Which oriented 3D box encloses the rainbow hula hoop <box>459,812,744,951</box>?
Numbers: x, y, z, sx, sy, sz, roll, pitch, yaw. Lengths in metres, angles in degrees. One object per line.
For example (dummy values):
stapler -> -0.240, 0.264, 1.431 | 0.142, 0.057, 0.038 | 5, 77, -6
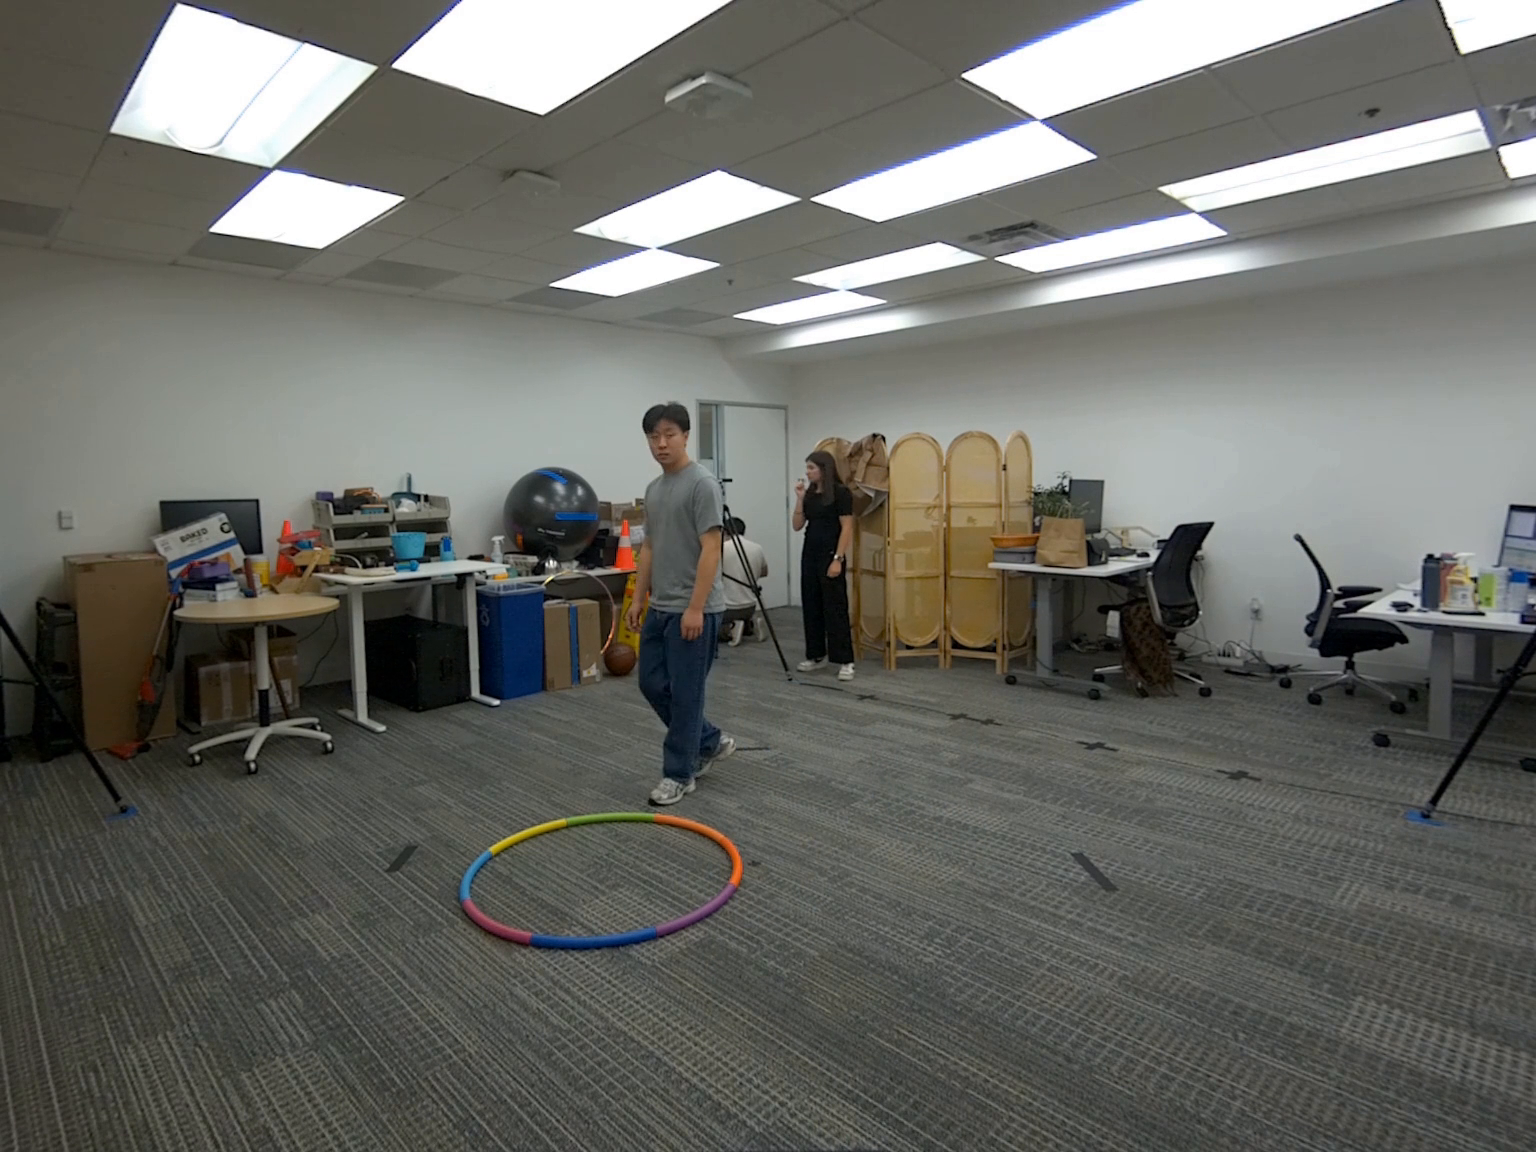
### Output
rainbow hula hoop -> -0.576, 1.031, 3.041 | 0.978, 0.035, 0.984 | -1, 7, -2
